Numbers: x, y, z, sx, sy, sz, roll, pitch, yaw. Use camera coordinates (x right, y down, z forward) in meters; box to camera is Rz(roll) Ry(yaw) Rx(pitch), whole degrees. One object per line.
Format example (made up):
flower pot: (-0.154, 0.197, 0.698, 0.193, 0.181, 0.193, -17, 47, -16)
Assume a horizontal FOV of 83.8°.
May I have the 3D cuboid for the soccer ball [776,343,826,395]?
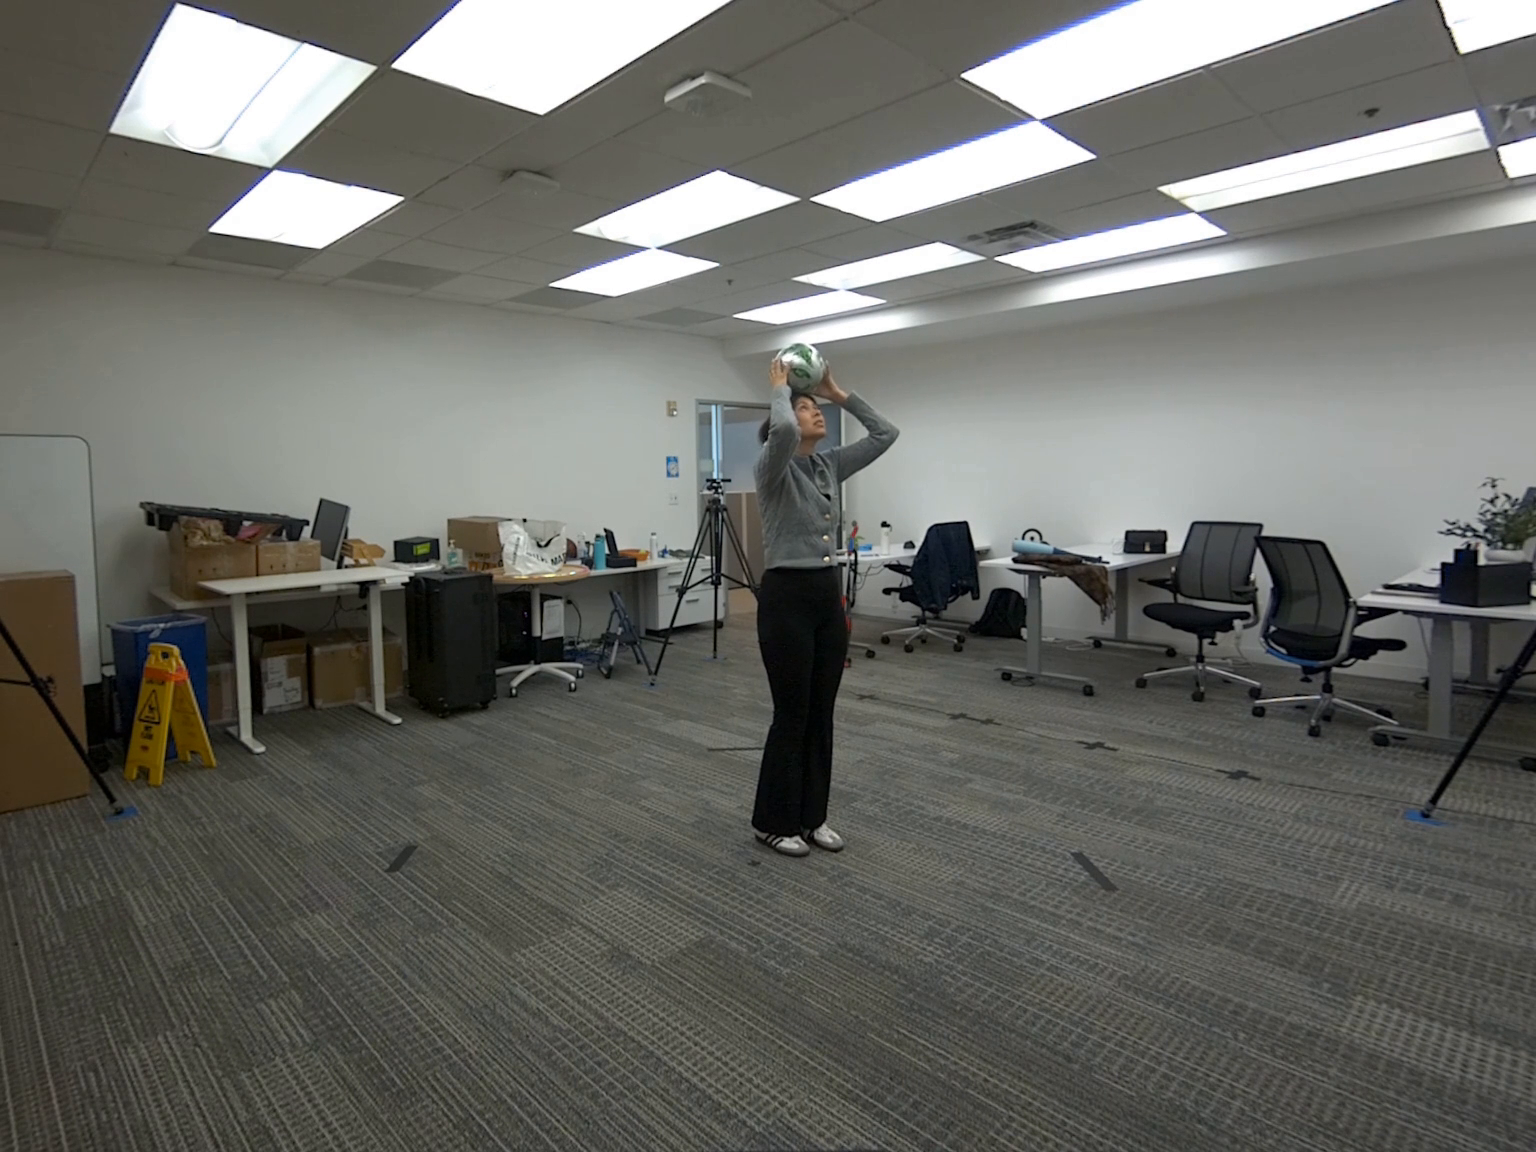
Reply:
soccer ball: (0.118, -0.760, 3.144, 0.187, 0.187, 0.188, -1, 5, -2)
